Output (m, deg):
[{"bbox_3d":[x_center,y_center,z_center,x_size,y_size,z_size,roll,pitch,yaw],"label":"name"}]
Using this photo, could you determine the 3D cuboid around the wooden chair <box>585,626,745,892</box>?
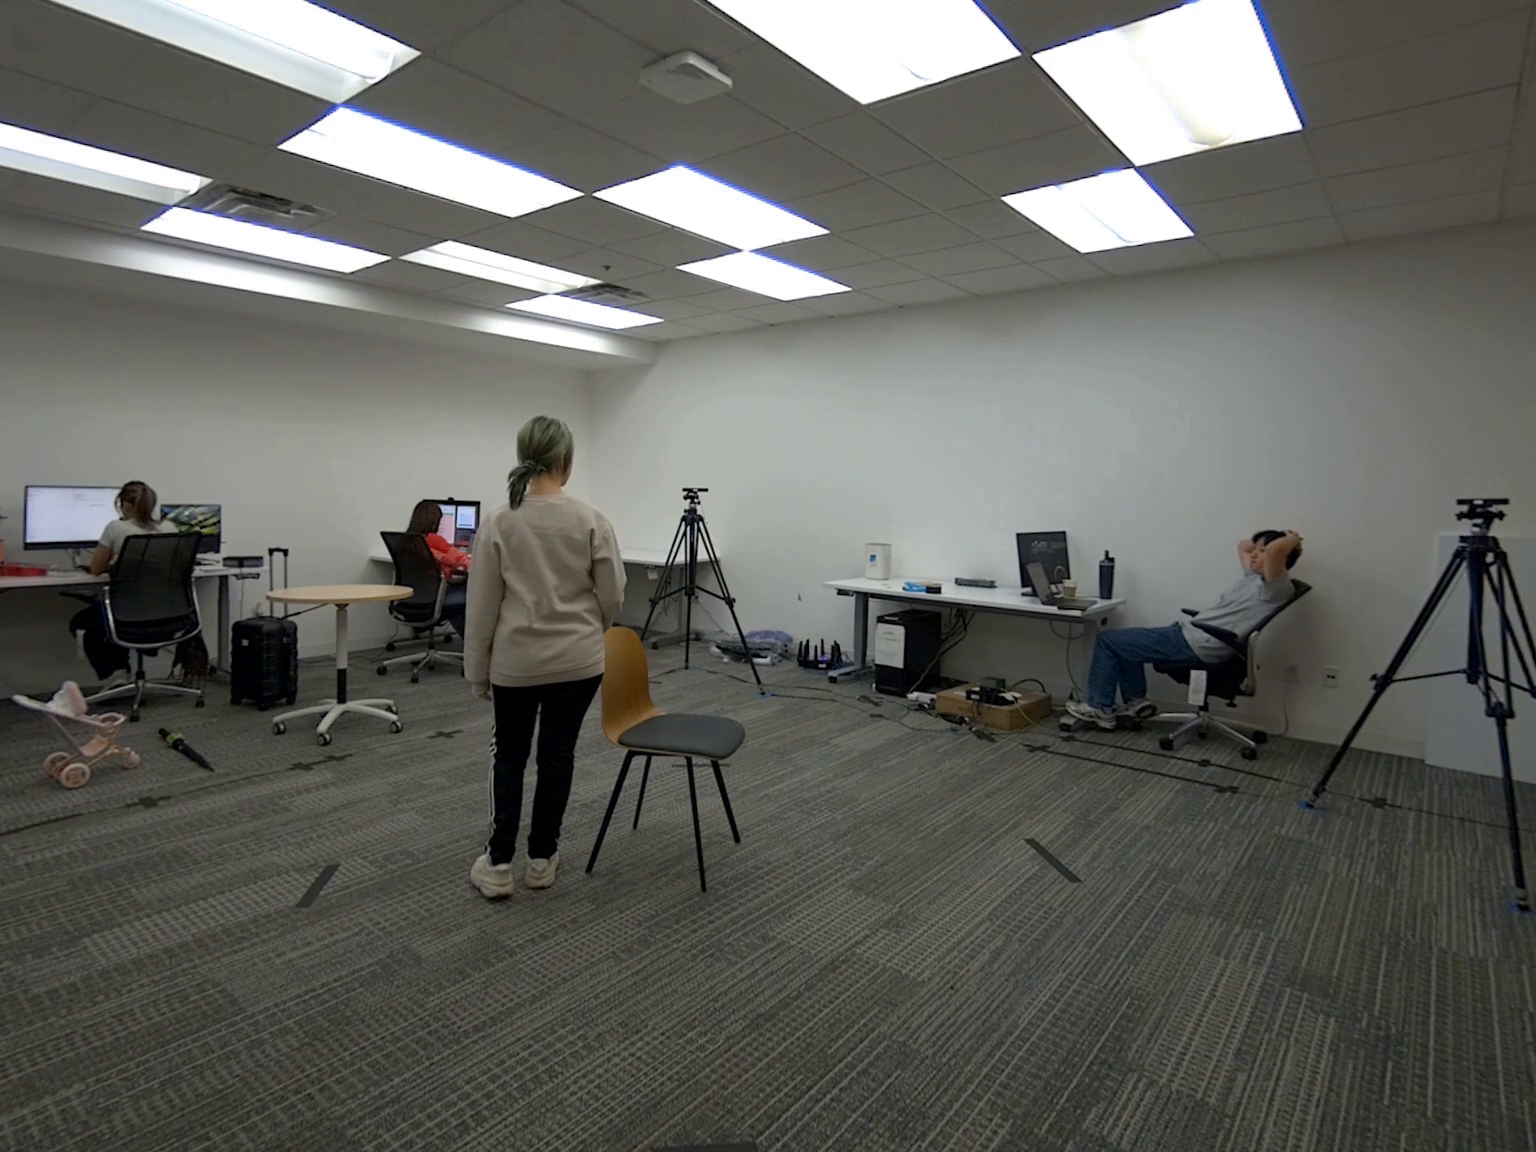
[{"bbox_3d":[-0.370,0.631,3.180,0.532,0.876,0.471,-2,2,16],"label":"wooden chair"}]
